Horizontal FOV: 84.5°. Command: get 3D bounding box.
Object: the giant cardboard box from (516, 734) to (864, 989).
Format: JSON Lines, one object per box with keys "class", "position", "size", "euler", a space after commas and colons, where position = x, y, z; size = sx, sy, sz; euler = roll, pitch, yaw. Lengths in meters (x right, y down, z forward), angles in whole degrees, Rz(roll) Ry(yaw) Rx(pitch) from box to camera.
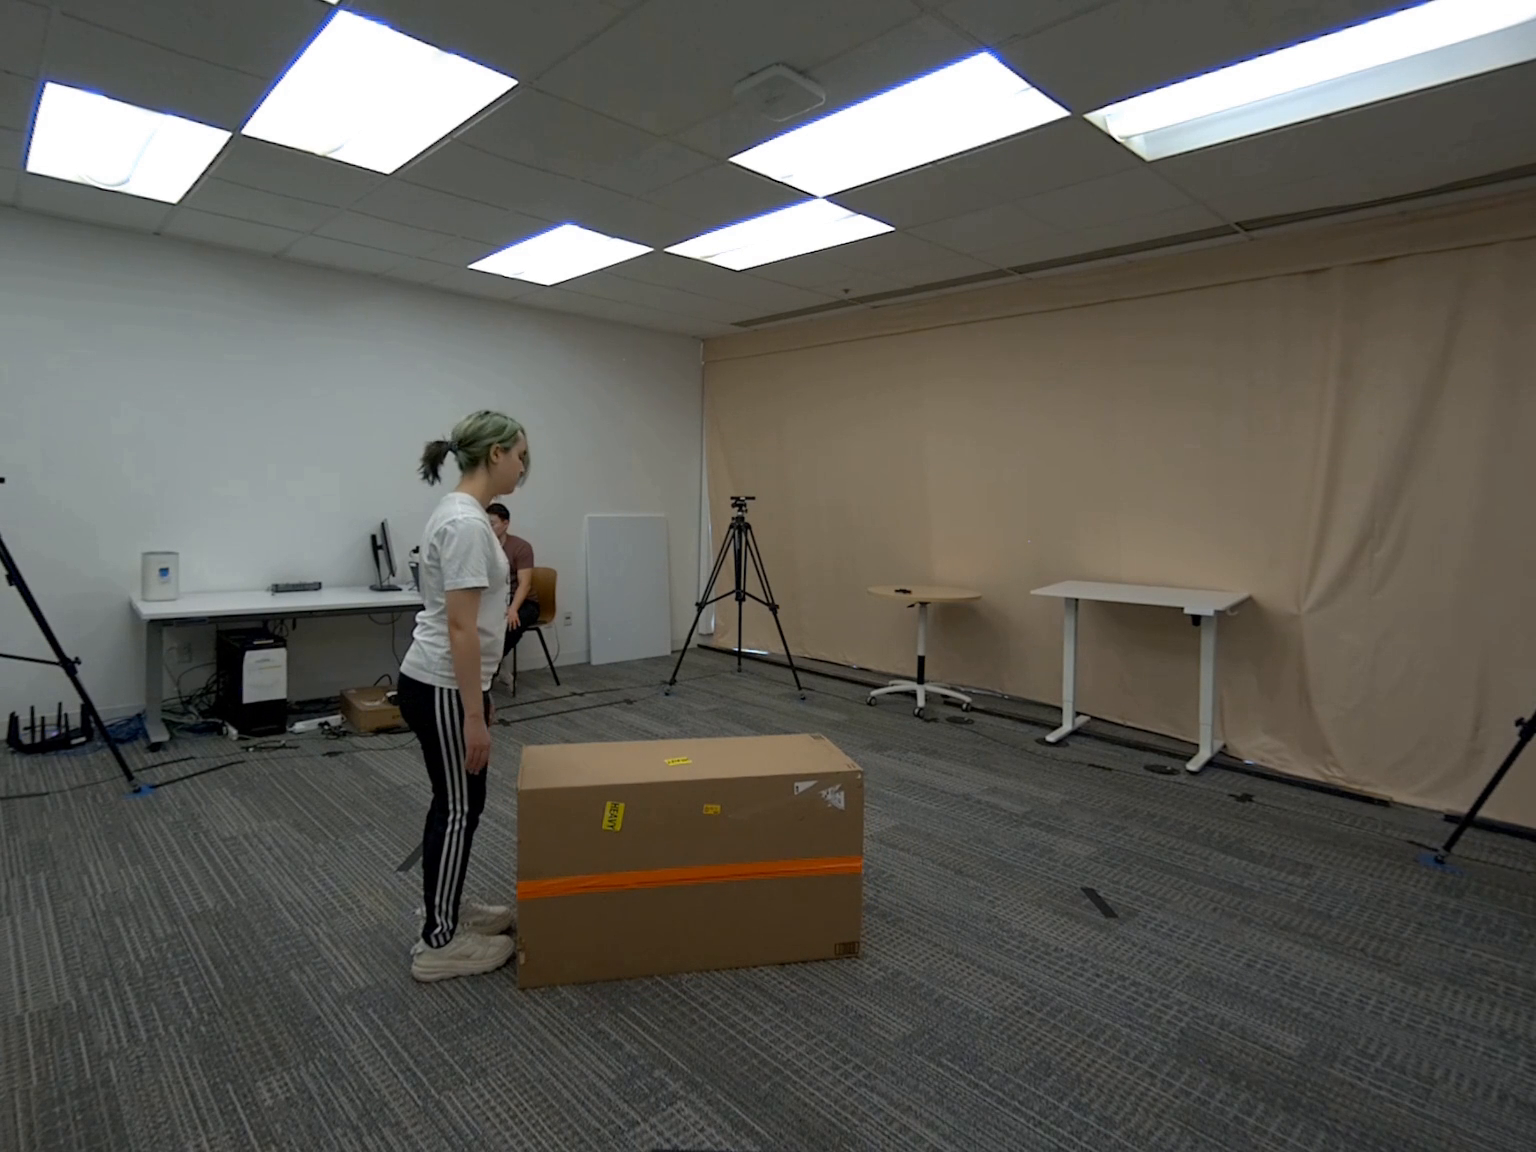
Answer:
{"class": "giant cardboard box", "position": [-0.265, 0.854, 2.646], "size": [1.016, 0.582, 0.453], "euler": [0, 5, -13]}
